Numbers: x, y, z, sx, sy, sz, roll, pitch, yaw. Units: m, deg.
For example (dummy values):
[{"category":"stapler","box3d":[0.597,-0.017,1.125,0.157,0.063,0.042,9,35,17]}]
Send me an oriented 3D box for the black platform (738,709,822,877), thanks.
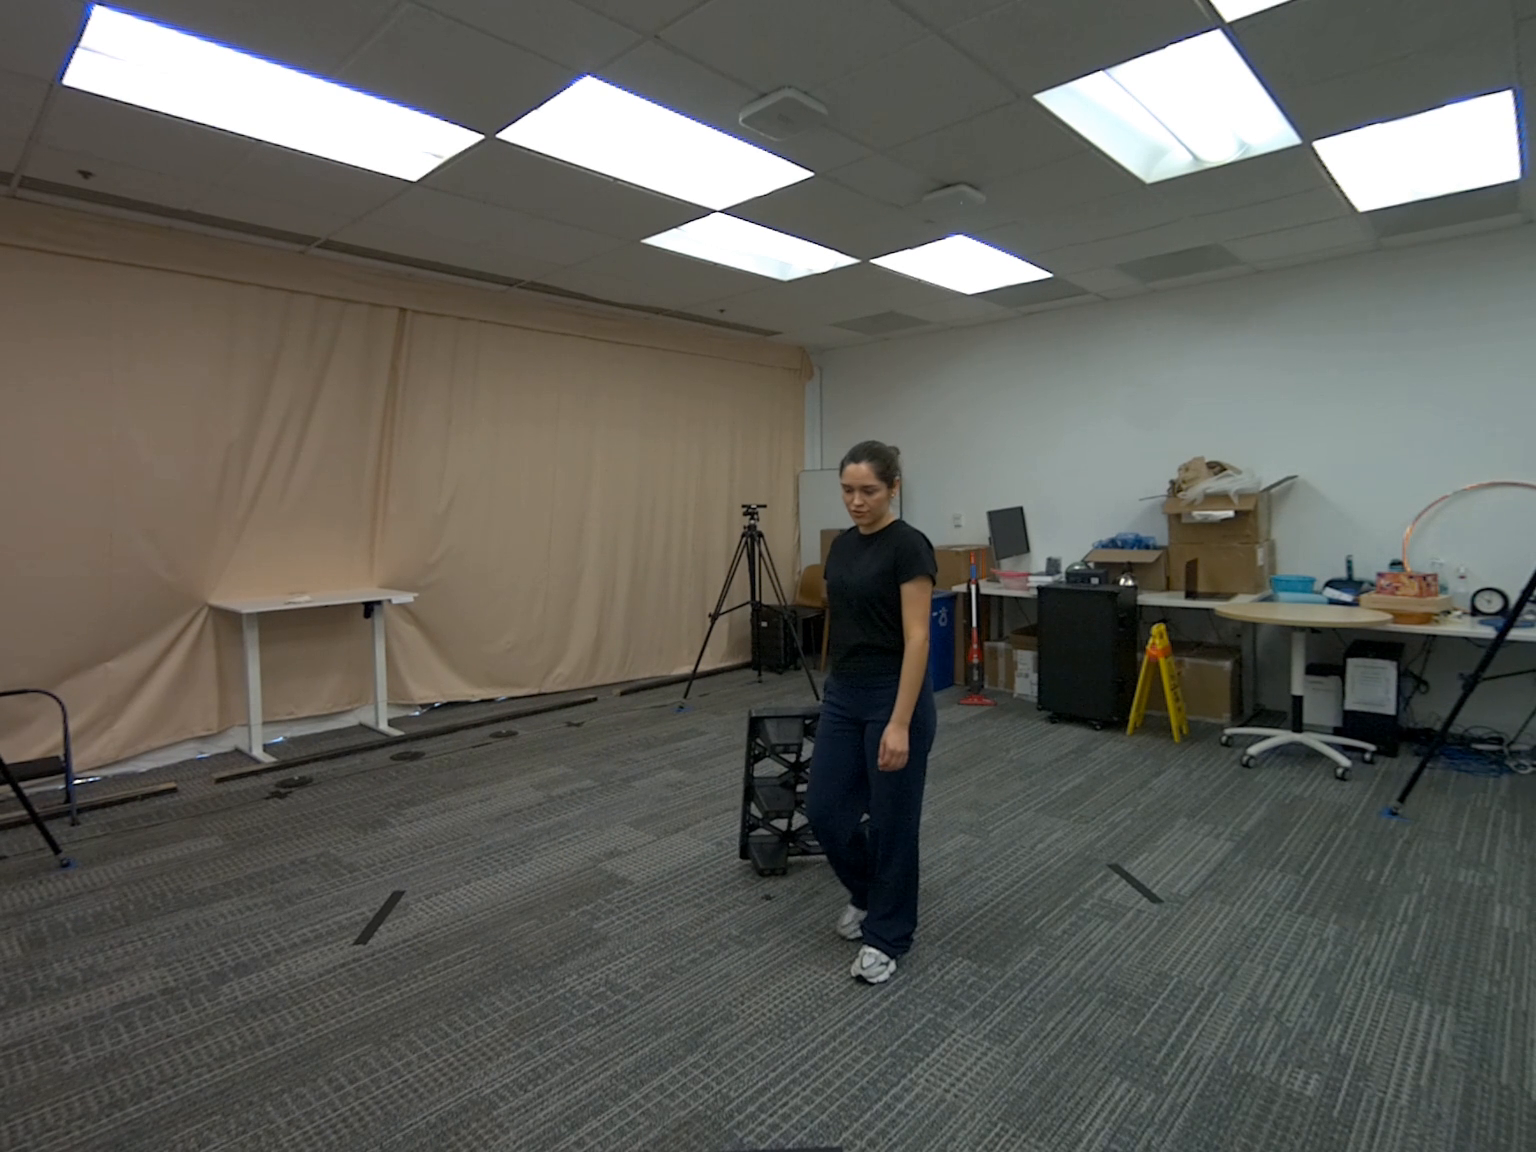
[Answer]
[{"category":"black platform","box3d":[0.223,0.783,3.016,0.601,0.793,0.146,-1,35,-6]}]
